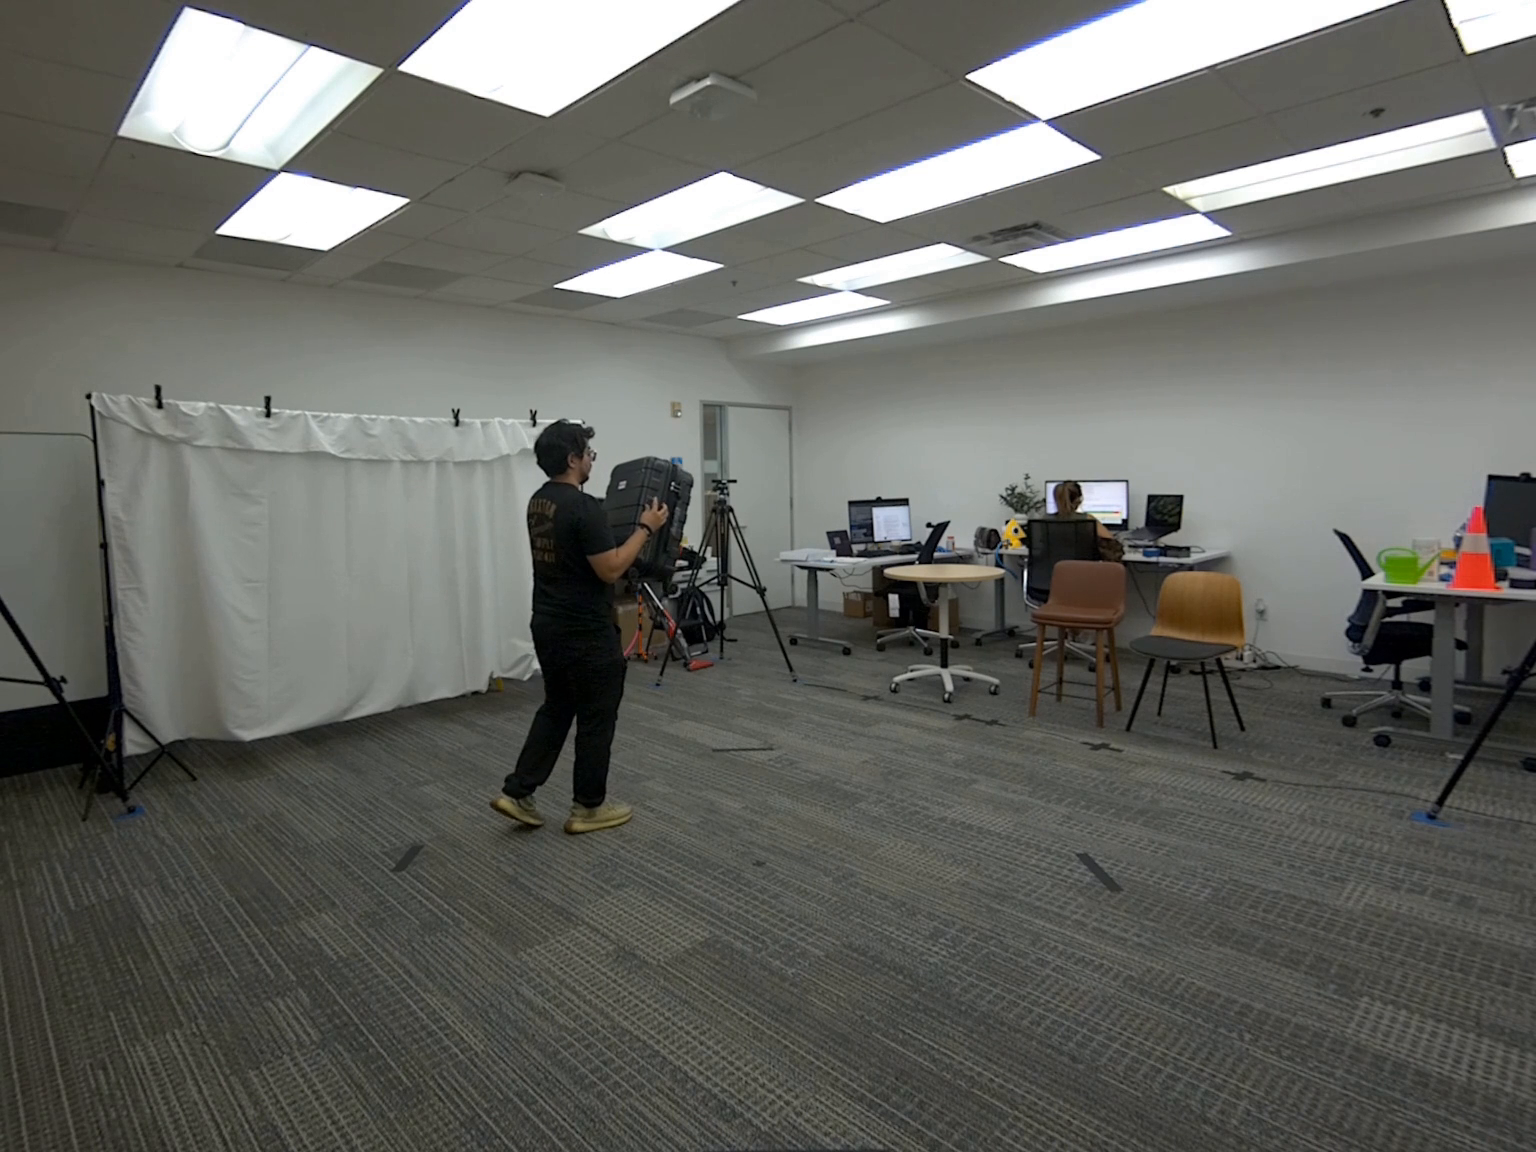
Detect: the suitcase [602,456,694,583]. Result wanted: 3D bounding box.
[{"bbox_3d":[-0.539,-0.223,3.620,0.240,0.554,0.385,21,-15,-36],"label":"suitcase"}]
